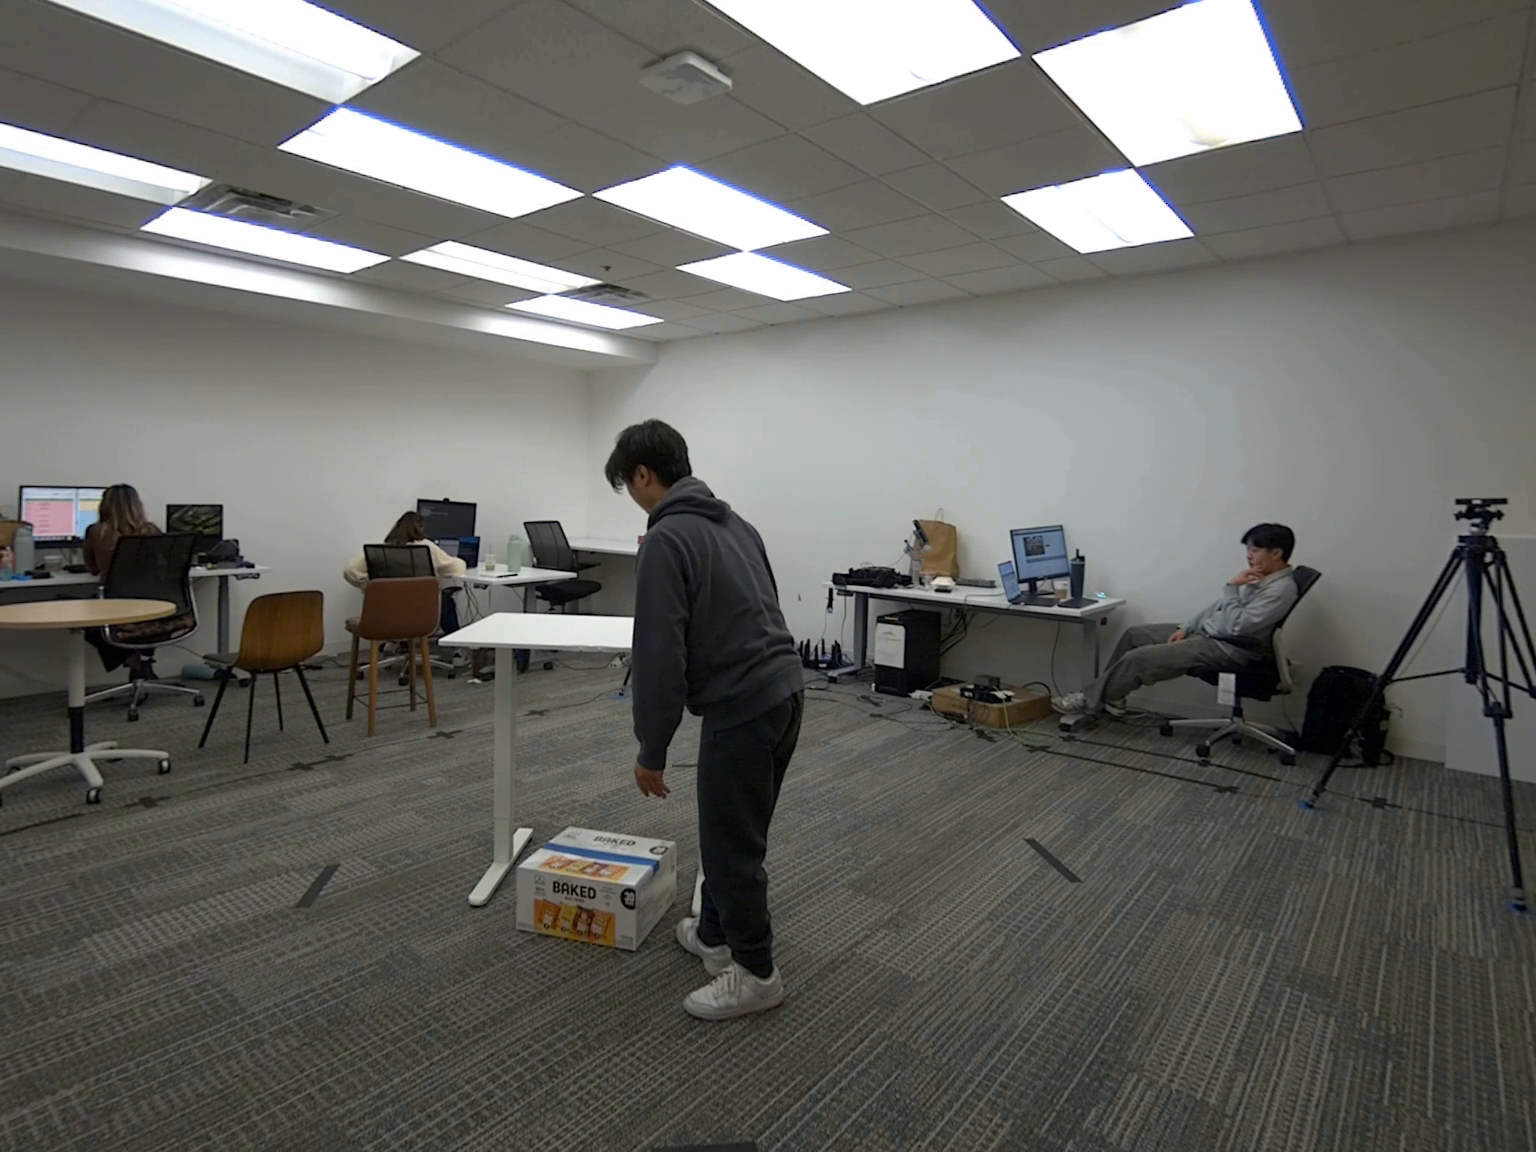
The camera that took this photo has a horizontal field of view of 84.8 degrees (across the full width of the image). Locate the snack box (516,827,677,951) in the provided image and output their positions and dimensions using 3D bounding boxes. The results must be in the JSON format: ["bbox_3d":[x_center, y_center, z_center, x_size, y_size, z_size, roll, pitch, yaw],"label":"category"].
[{"bbox_3d":[-0.556,0.996,2.748,0.413,0.205,0.335,2,5,16],"label":"snack box"}]
